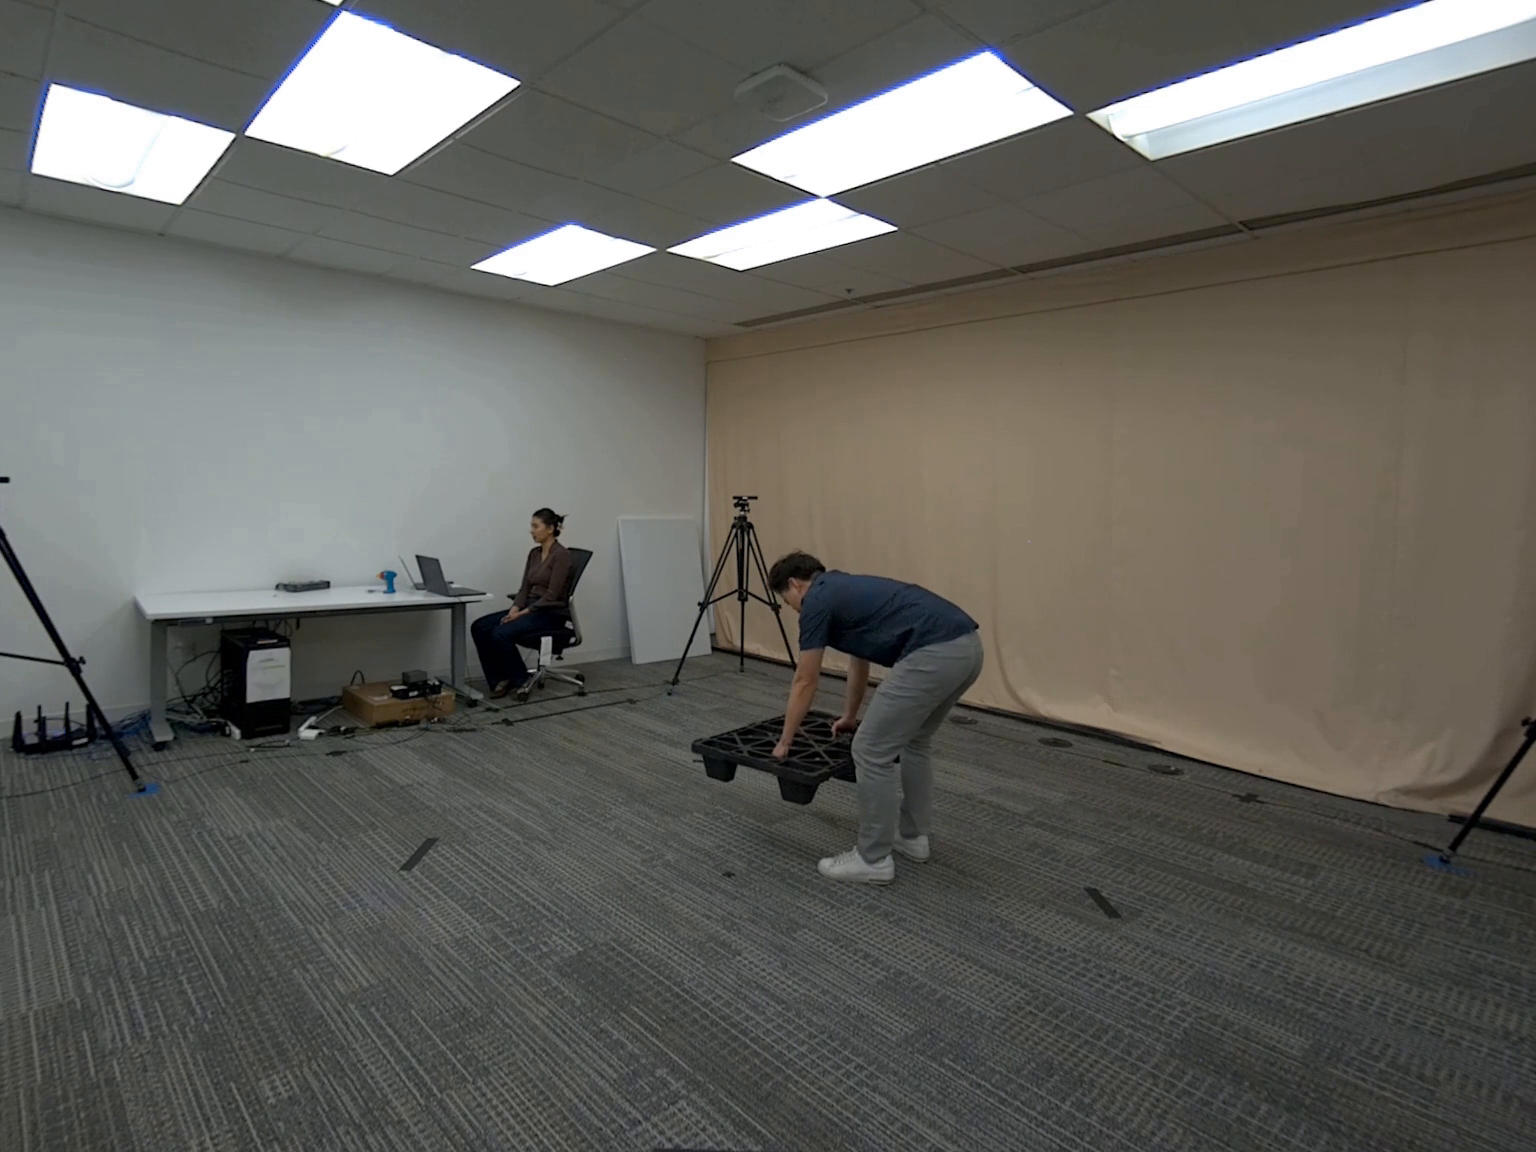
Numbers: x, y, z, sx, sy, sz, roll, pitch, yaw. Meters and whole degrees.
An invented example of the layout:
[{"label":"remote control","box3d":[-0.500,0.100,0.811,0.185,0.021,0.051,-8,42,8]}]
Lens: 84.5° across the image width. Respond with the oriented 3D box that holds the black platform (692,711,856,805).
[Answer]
[{"label":"black platform","box3d":[0.163,0.729,3.445,0.620,0.143,0.788,4,6,38]}]
